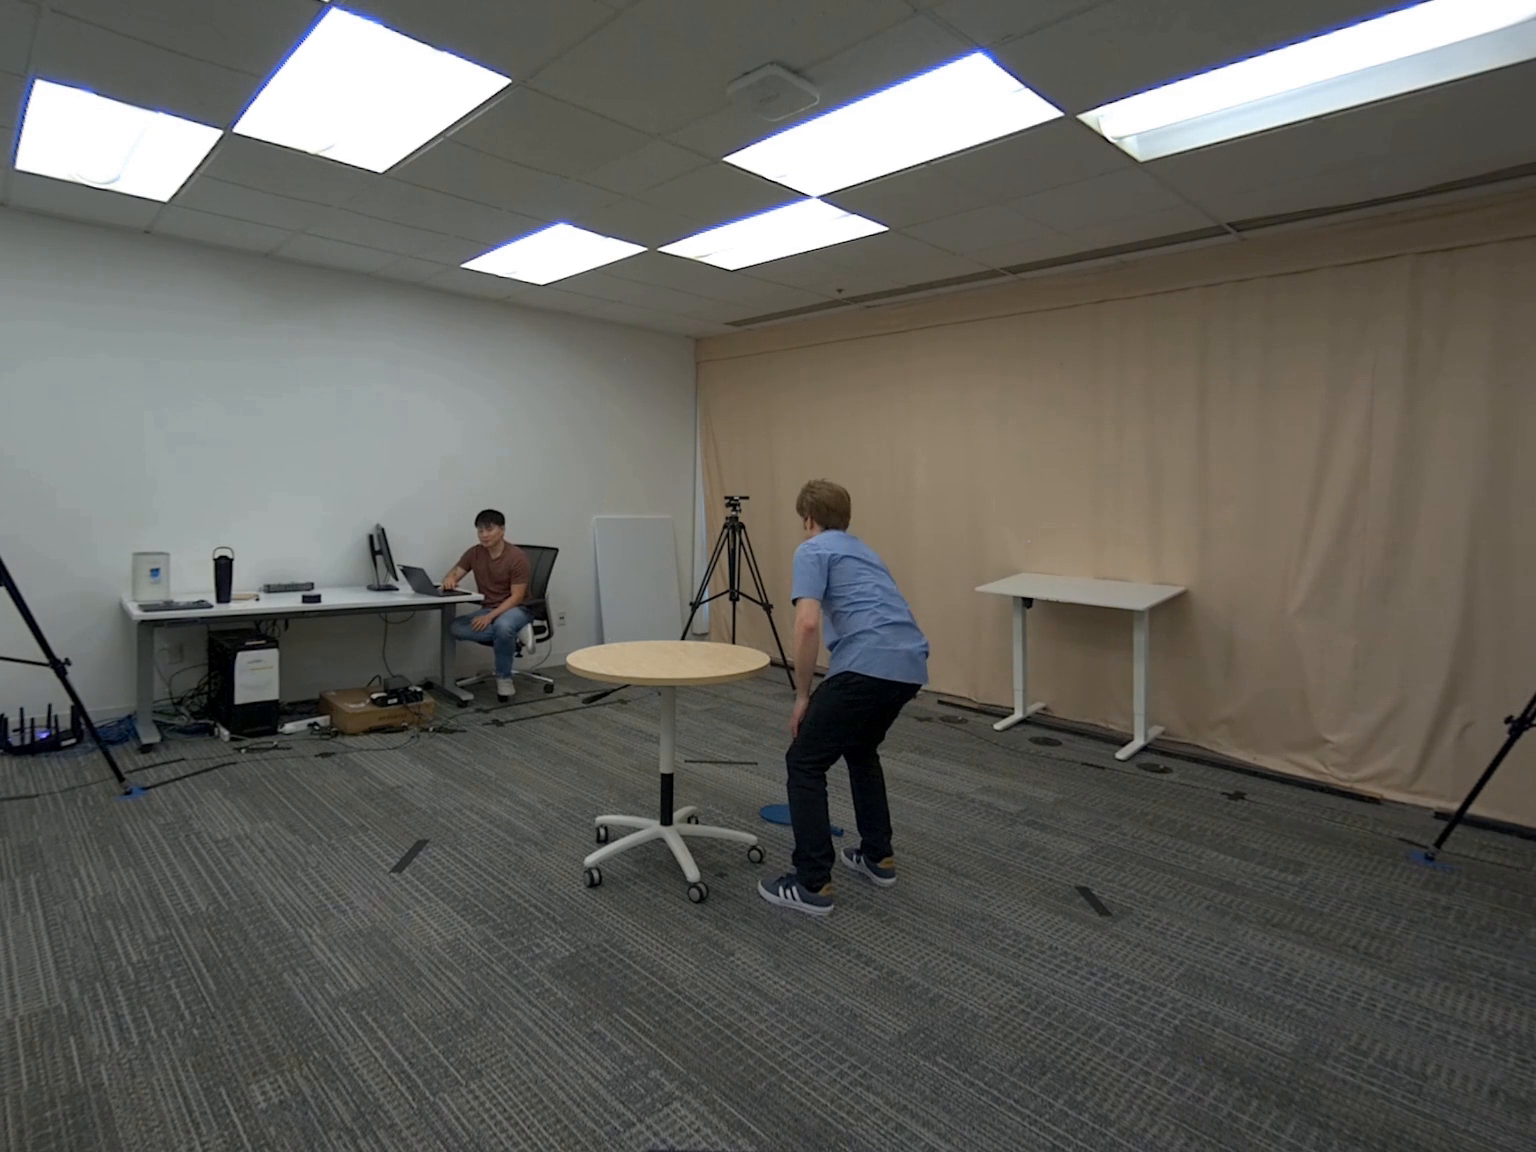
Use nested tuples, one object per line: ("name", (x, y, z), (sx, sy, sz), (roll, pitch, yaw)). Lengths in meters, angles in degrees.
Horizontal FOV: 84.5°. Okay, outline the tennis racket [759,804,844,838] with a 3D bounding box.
("tennis racket", (0.134, 1.050, 3.641), (0.444, 0.032, 0.209), (4, 6, 42))
